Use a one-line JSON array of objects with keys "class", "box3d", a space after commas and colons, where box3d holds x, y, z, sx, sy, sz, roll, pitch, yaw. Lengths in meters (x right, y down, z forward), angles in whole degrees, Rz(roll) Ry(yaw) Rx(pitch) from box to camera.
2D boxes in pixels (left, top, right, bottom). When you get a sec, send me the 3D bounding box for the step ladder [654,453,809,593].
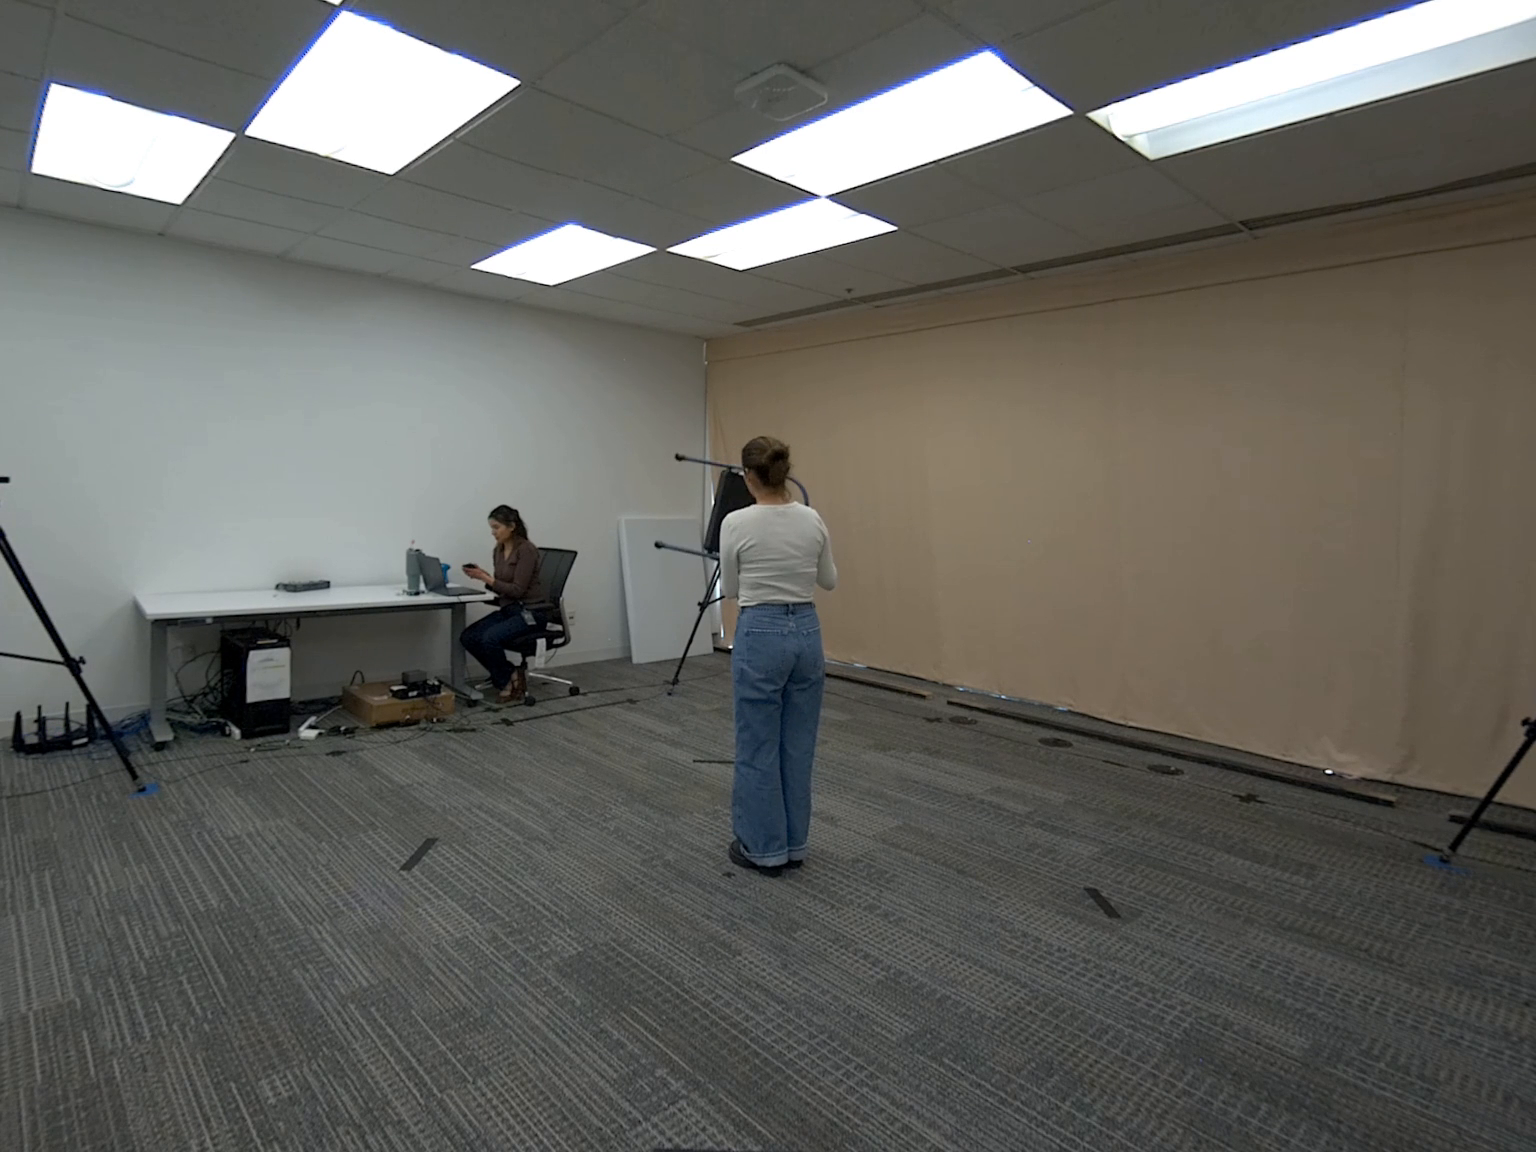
[{"class": "step ladder", "box3d": [-0.123, -0.236, 3.580, 0.339, 0.430, 0.623, 12, 1, -45]}]
